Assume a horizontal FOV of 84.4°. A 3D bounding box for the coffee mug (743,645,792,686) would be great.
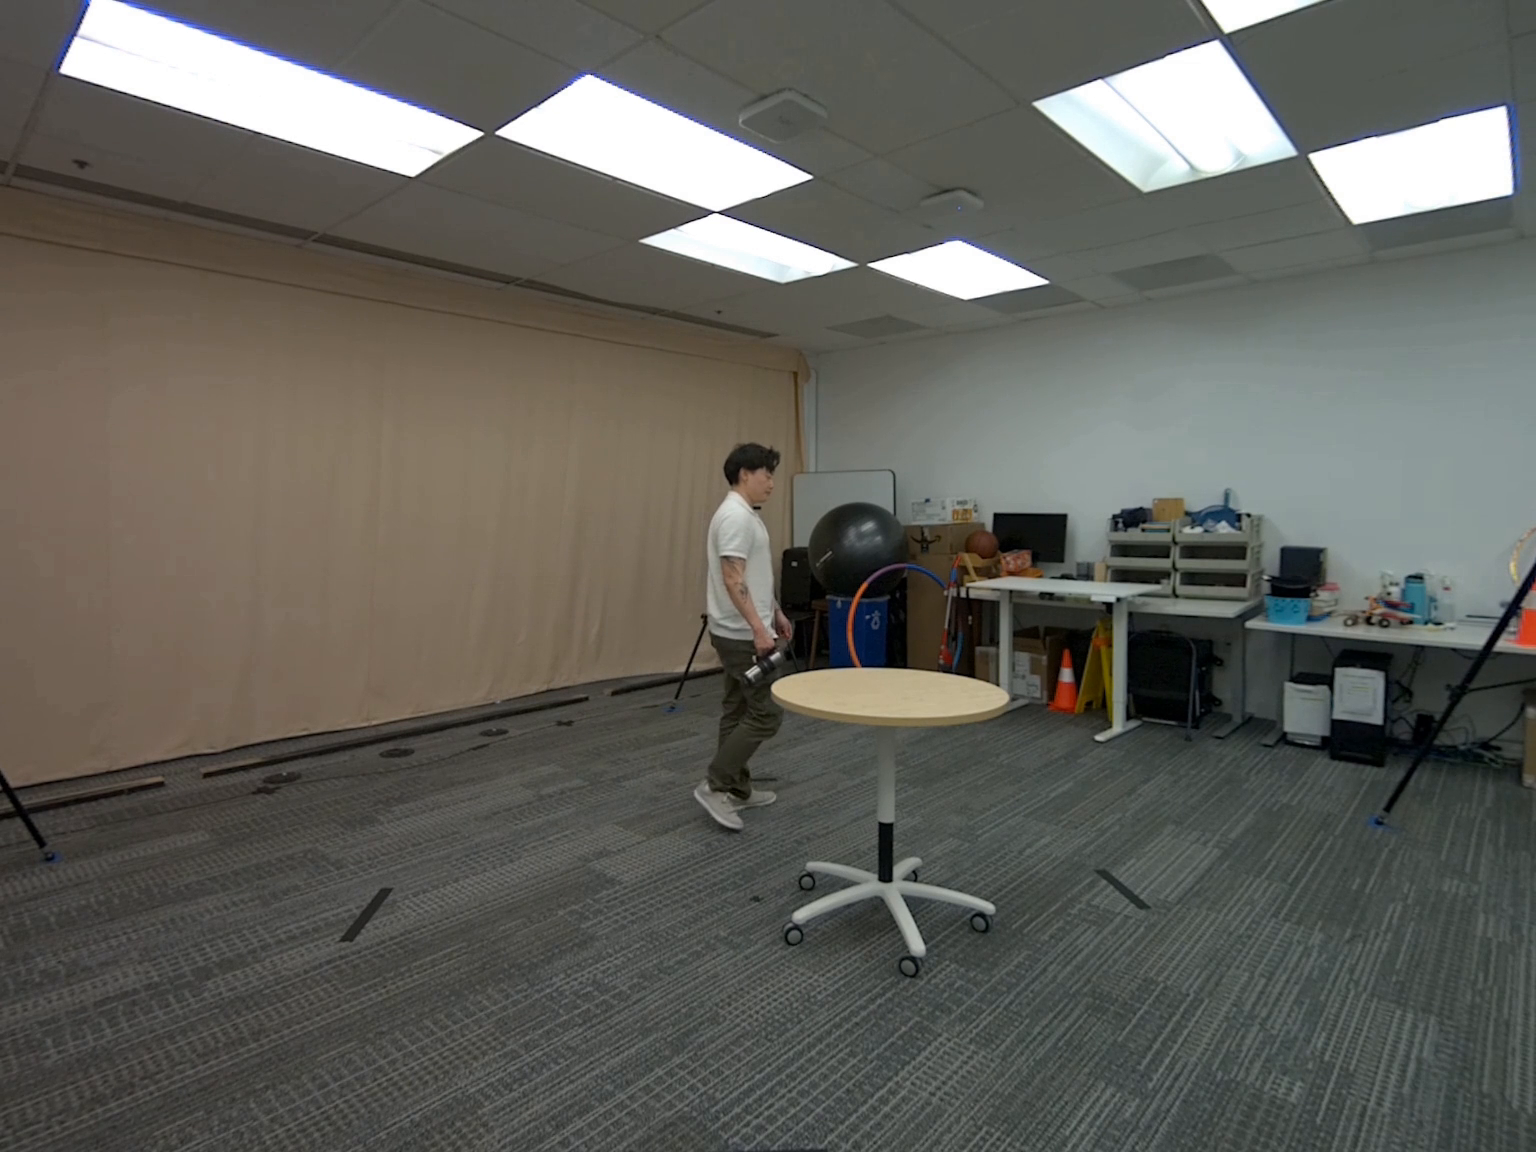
[{"bbox_3d":[-0.042,0.371,3.557,0.201,0.124,0.087,-33,-18,-13],"label":"coffee mug"}]
